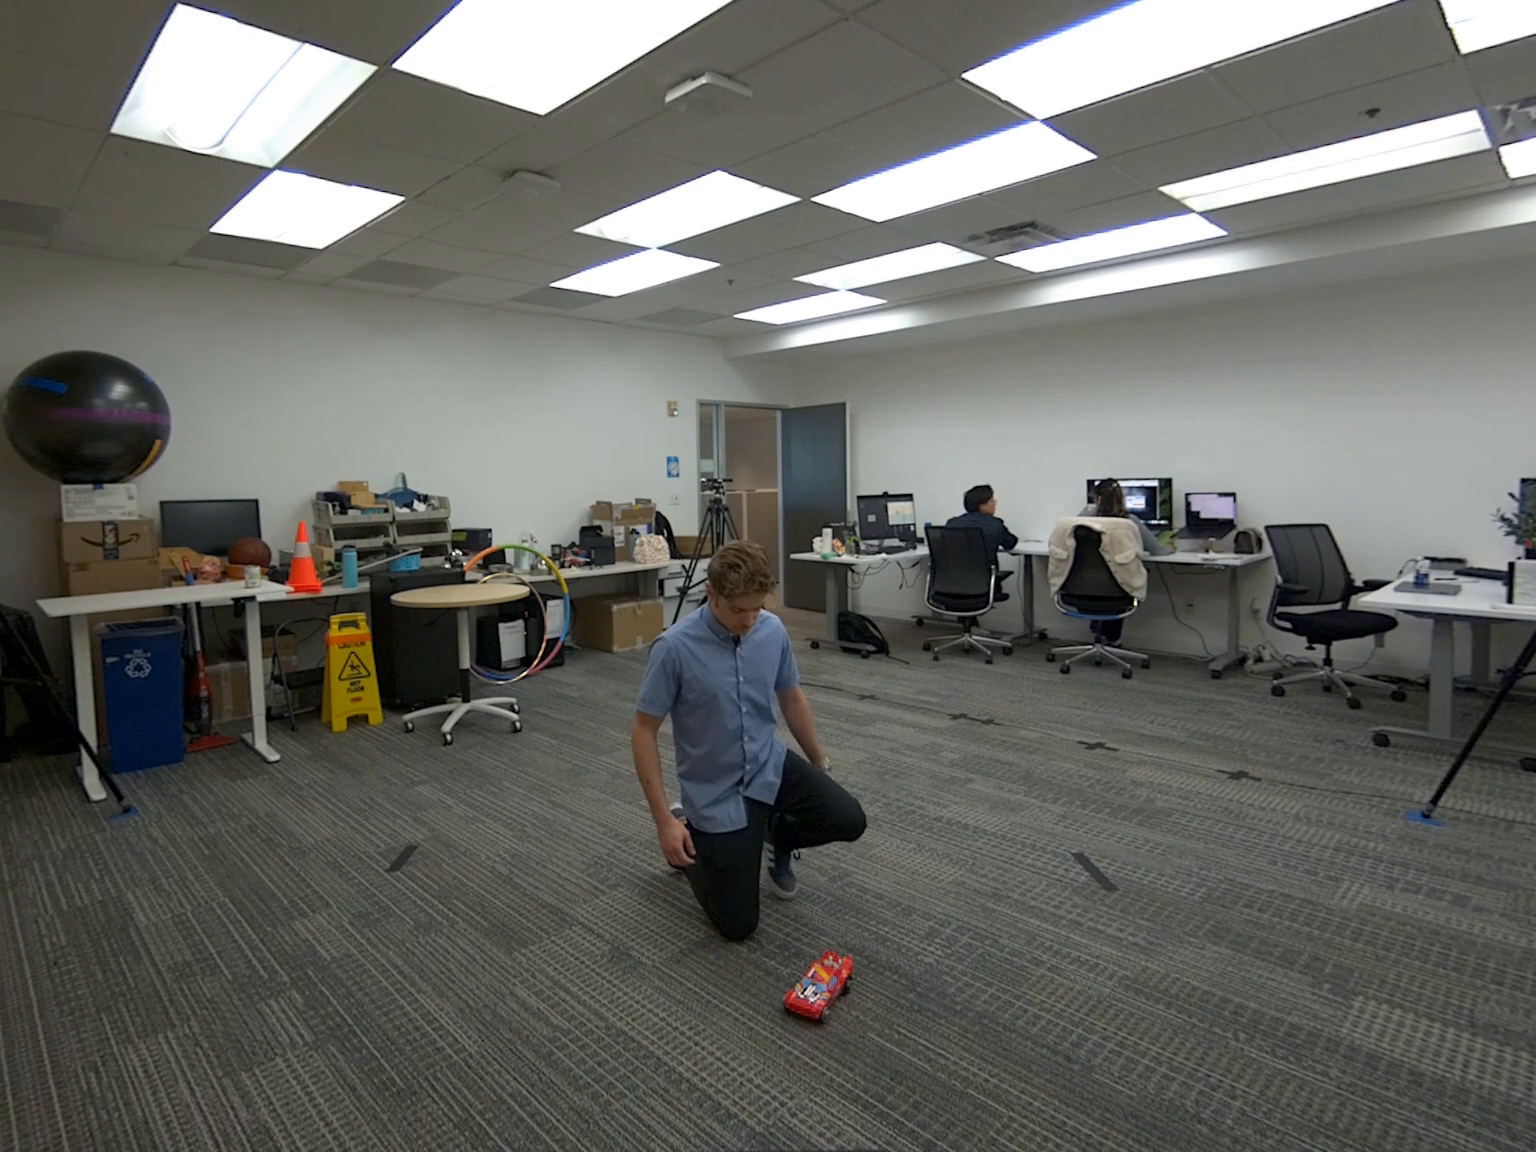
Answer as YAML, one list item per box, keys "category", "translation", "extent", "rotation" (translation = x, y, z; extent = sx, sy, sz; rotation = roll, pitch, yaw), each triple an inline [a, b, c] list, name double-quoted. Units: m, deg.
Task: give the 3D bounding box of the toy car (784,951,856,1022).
- category: "toy car"
  translation: [0.152, 1.109, 2.300]
  extent: [0.134, 0.082, 0.252]
  rotation: [3, 19, 29]
